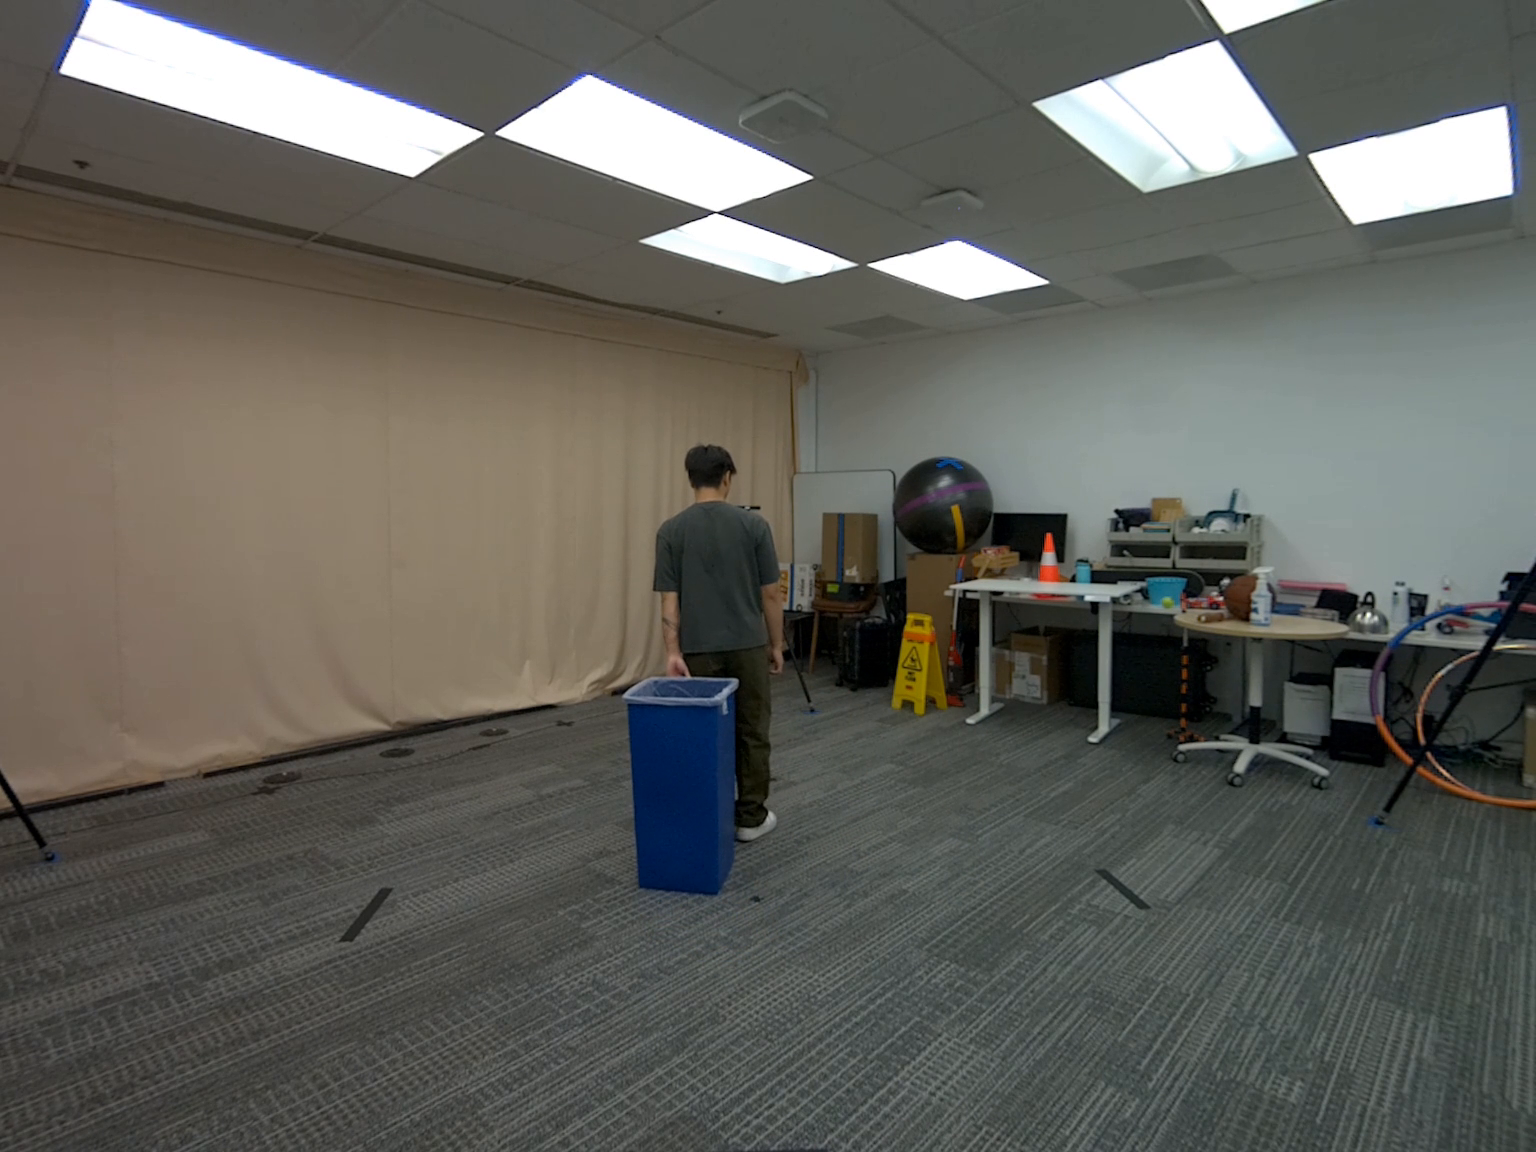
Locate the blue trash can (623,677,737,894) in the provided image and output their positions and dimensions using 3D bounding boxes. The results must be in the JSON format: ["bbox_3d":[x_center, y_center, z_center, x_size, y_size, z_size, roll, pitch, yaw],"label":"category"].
[{"bbox_3d":[-0.318,0.772,3.166,0.379,0.712,0.374,0,3,11],"label":"blue trash can"}]
